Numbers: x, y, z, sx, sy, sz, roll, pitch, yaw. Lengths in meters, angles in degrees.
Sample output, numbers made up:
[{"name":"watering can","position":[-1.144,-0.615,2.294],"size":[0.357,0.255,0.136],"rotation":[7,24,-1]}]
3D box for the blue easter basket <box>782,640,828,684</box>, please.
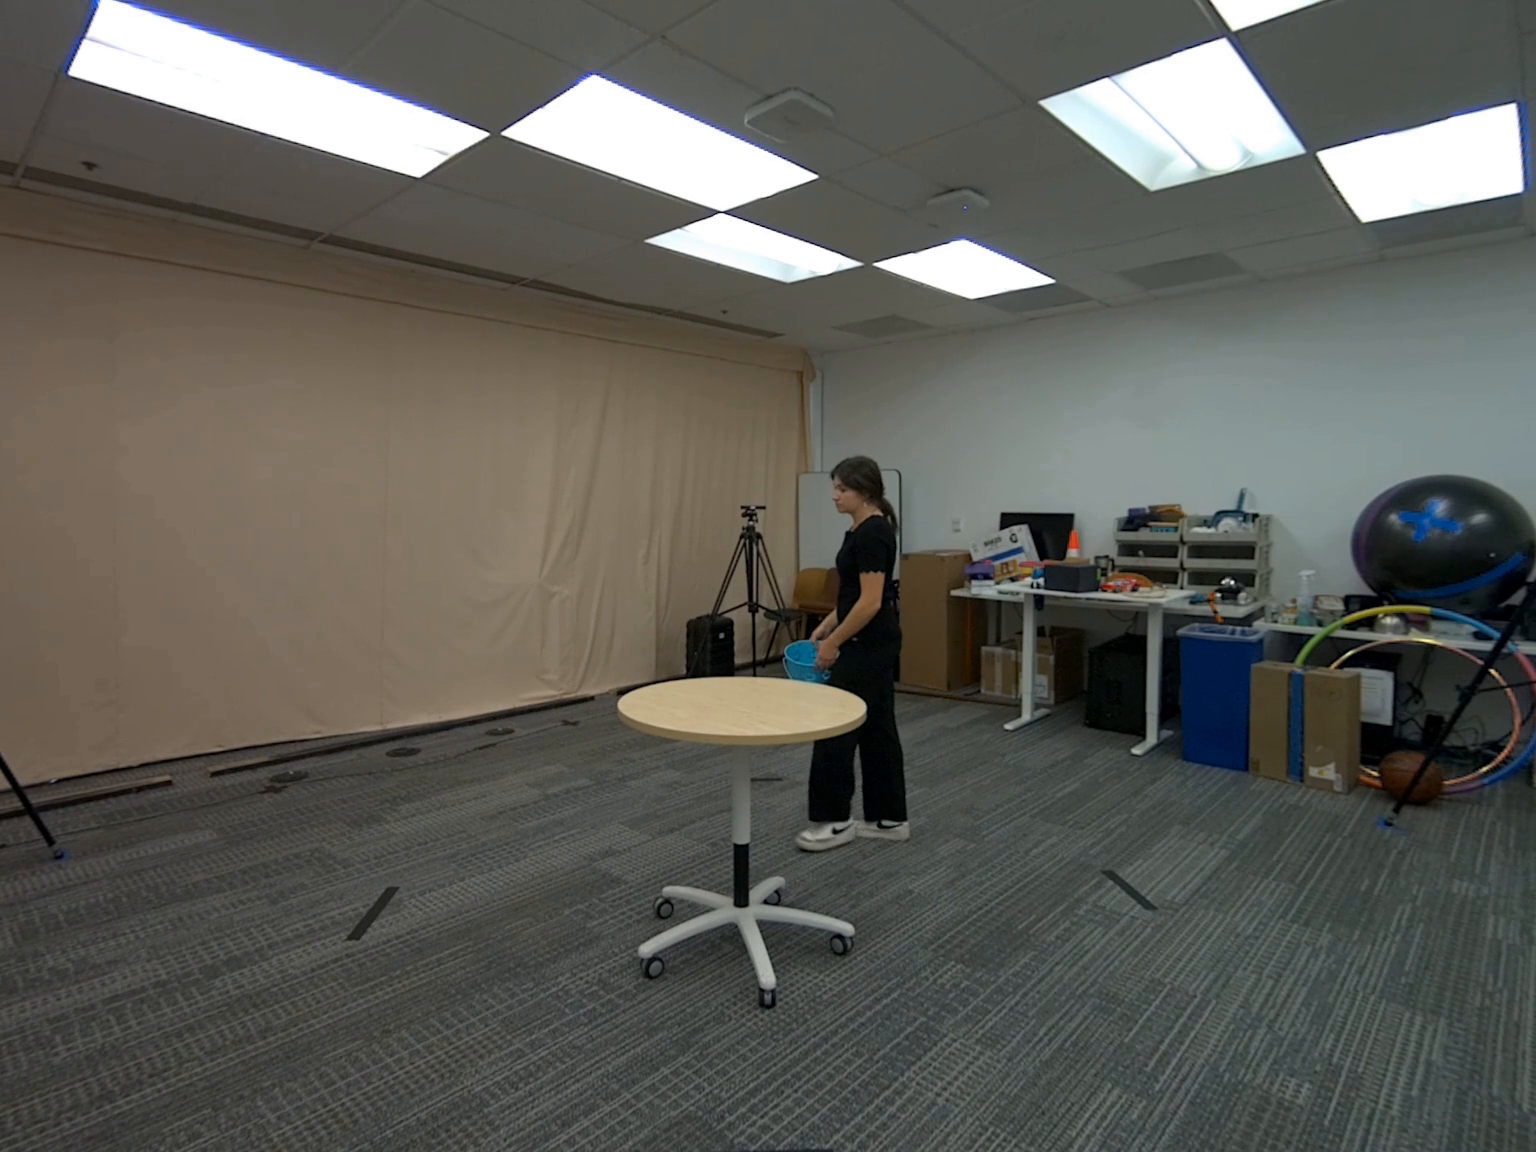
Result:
[{"name":"blue easter basket","position":[0.200,0.402,3.557],"size":[0.243,0.154,0.247],"rotation":[-2,21,-1]}]
